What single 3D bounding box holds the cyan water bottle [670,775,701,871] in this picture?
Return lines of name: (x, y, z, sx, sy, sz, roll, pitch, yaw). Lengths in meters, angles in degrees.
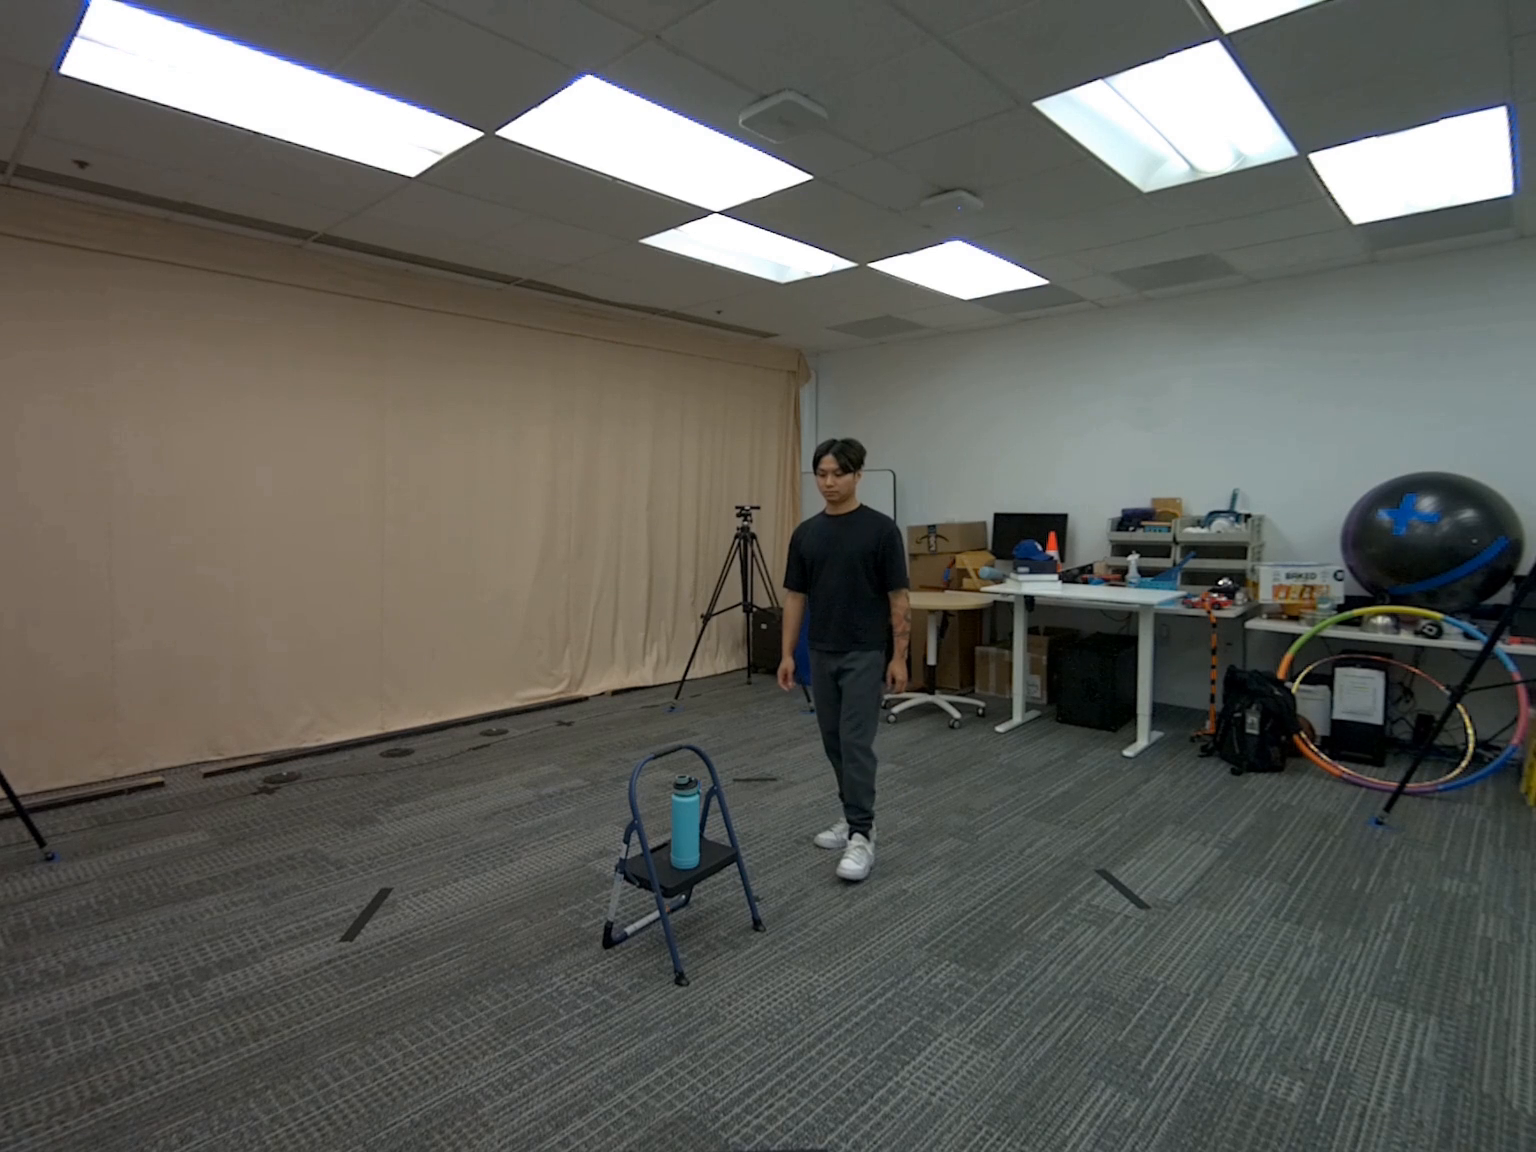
cyan water bottle: (-0.259, 0.772, 2.657, 0.092, 0.283, 0.092, 1, 3, -2)
